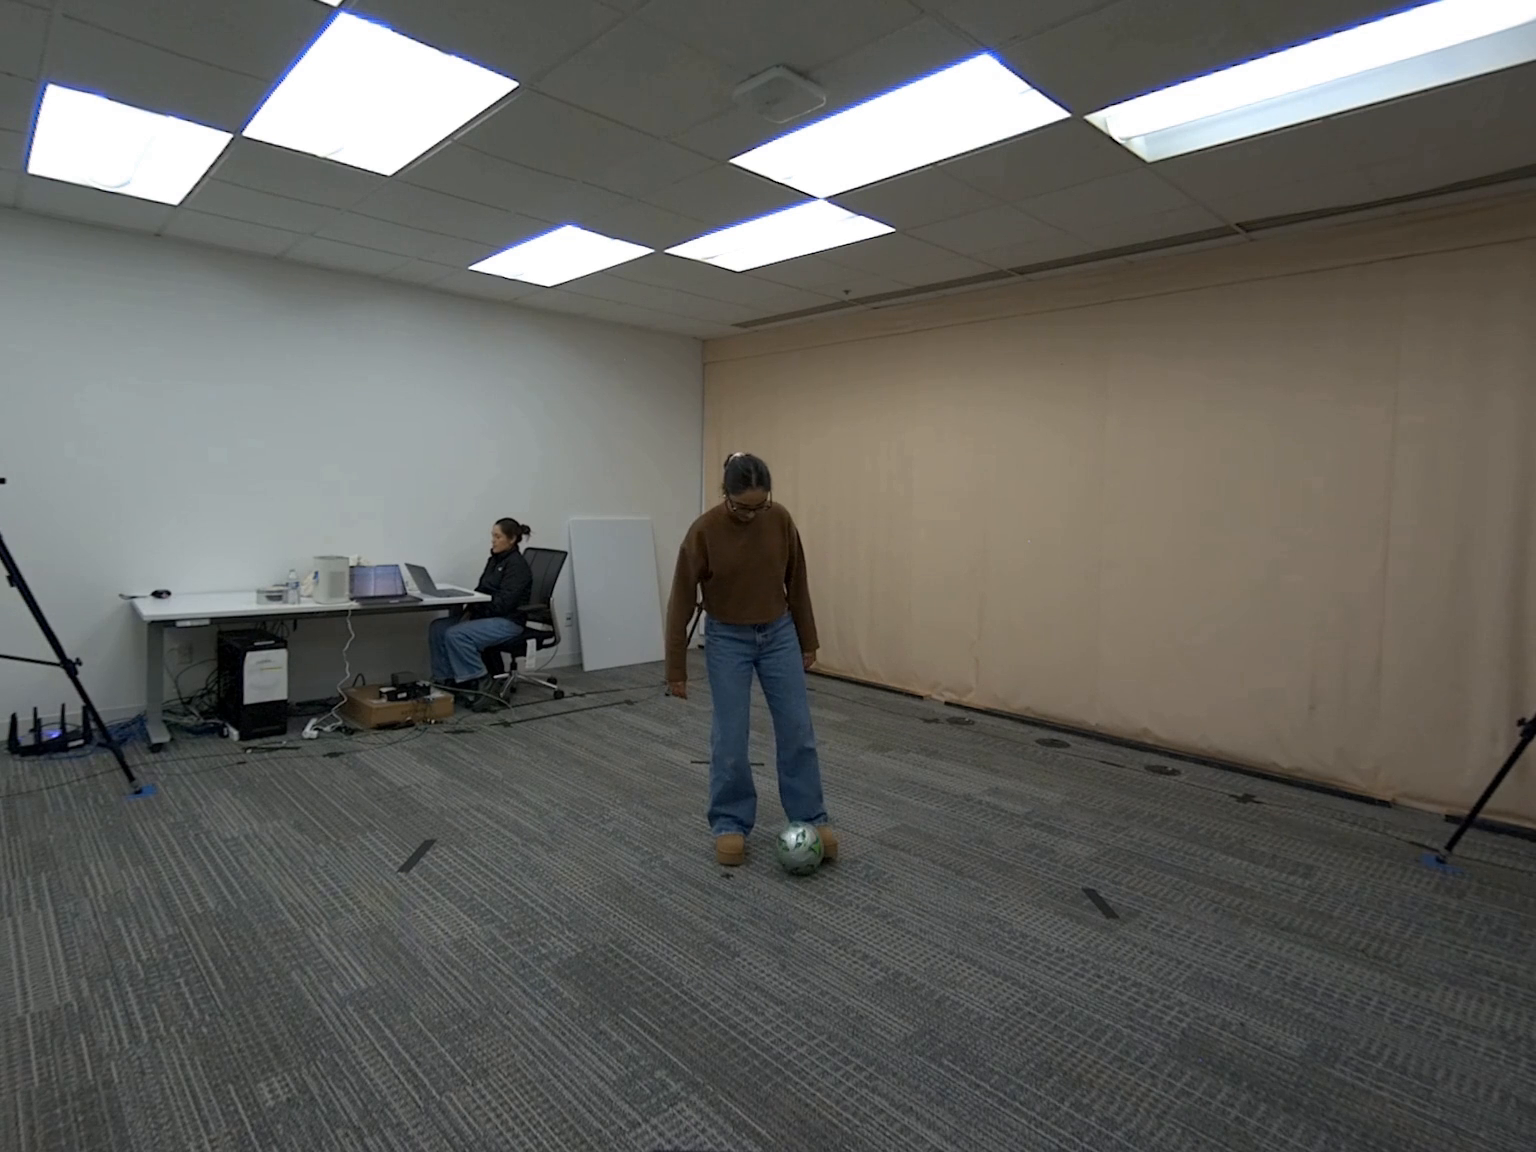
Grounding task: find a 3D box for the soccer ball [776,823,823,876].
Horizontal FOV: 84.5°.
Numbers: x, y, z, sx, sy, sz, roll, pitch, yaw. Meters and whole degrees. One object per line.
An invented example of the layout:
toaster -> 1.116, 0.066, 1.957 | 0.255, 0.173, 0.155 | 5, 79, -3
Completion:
soccer ball -> 0.100, 1.017, 3.146 | 0.187, 0.187, 0.188 | 1, 4, -1
